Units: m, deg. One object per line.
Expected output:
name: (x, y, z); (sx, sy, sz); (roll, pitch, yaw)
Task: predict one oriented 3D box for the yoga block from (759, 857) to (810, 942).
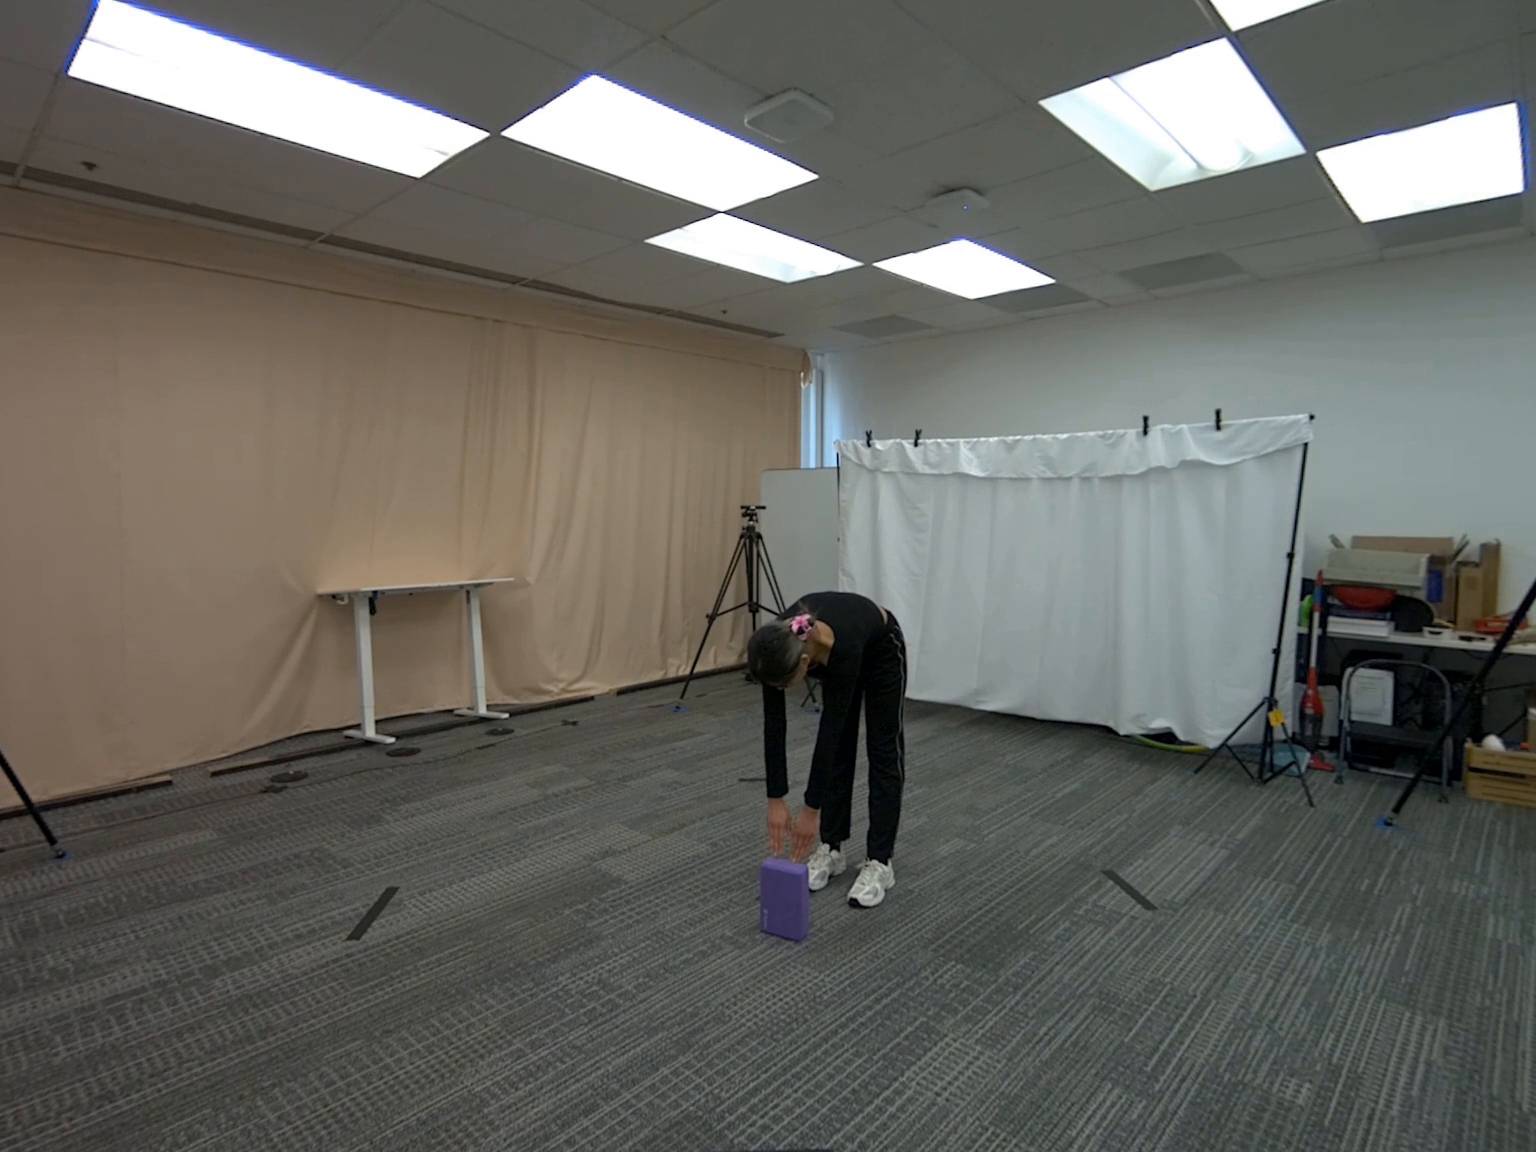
yoga block: (0.058, 1.050, 2.738); (0.153, 0.229, 0.074); (3, 4, 27)
